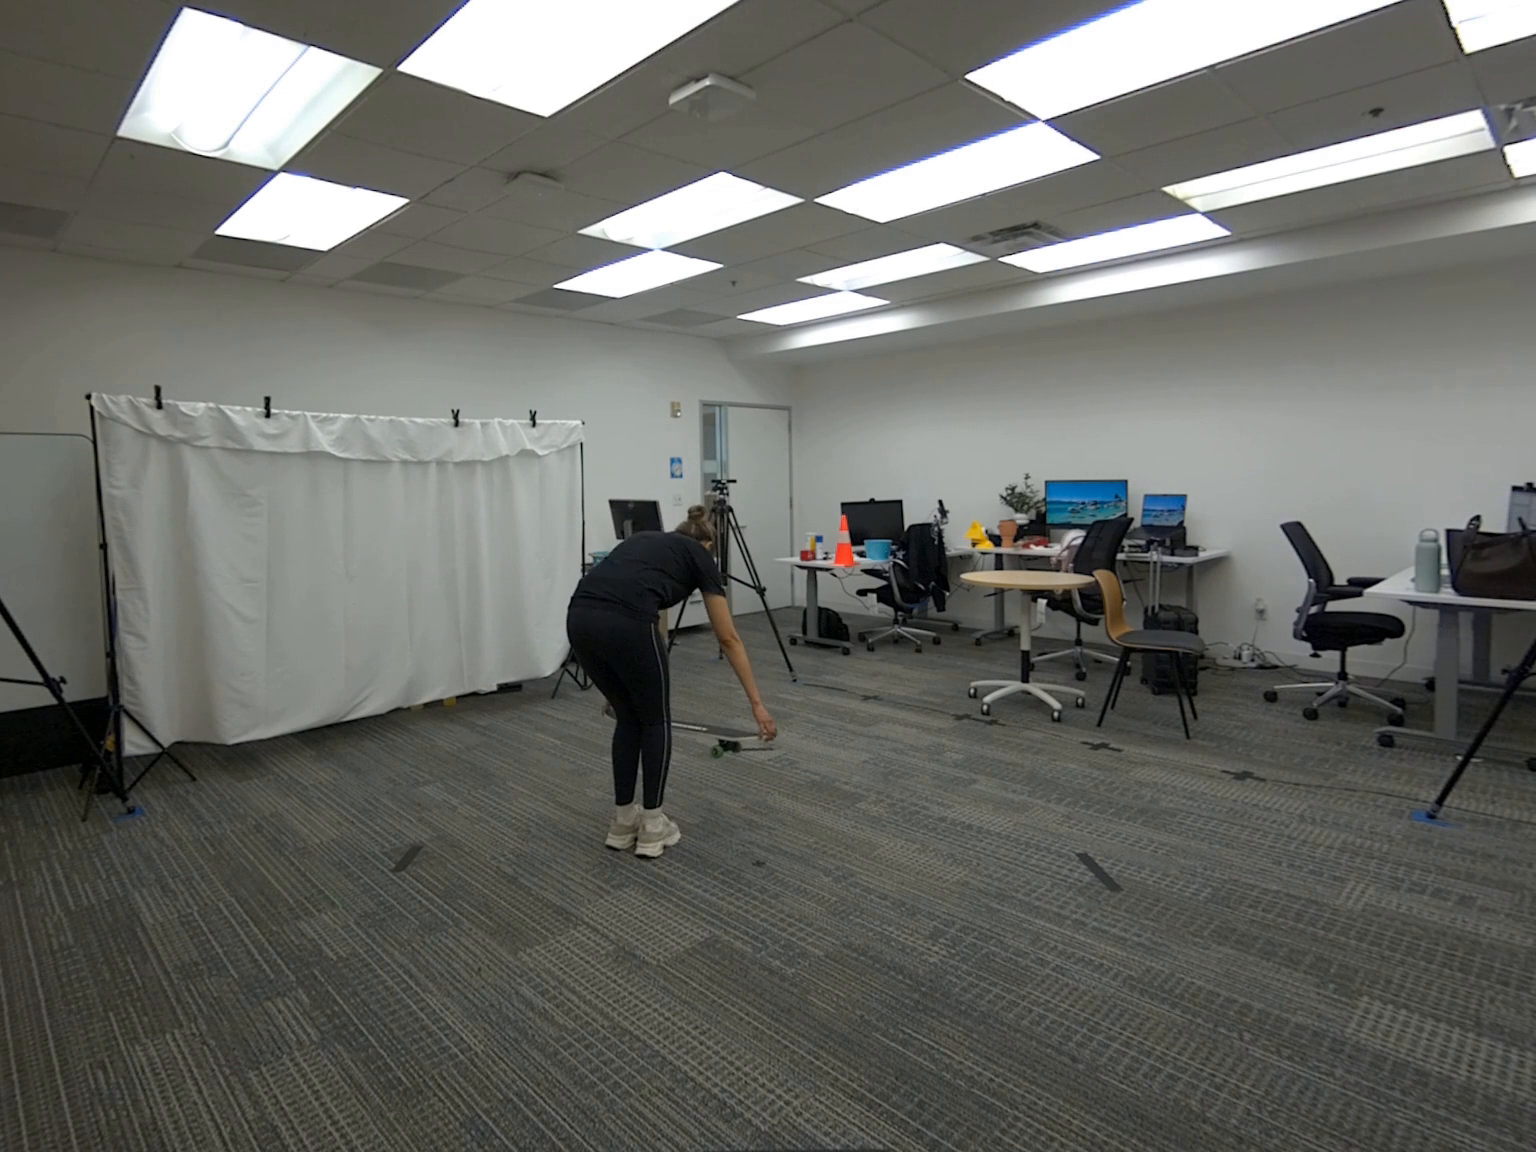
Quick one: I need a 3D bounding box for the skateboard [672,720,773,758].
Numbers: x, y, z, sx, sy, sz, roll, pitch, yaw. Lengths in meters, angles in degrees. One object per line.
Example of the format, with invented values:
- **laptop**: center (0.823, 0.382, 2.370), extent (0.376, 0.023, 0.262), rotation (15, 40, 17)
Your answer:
- **skateboard**: center (-0.340, 0.648, 3.506), extent (0.806, 0.110, 0.188), rotation (4, -1, 29)
